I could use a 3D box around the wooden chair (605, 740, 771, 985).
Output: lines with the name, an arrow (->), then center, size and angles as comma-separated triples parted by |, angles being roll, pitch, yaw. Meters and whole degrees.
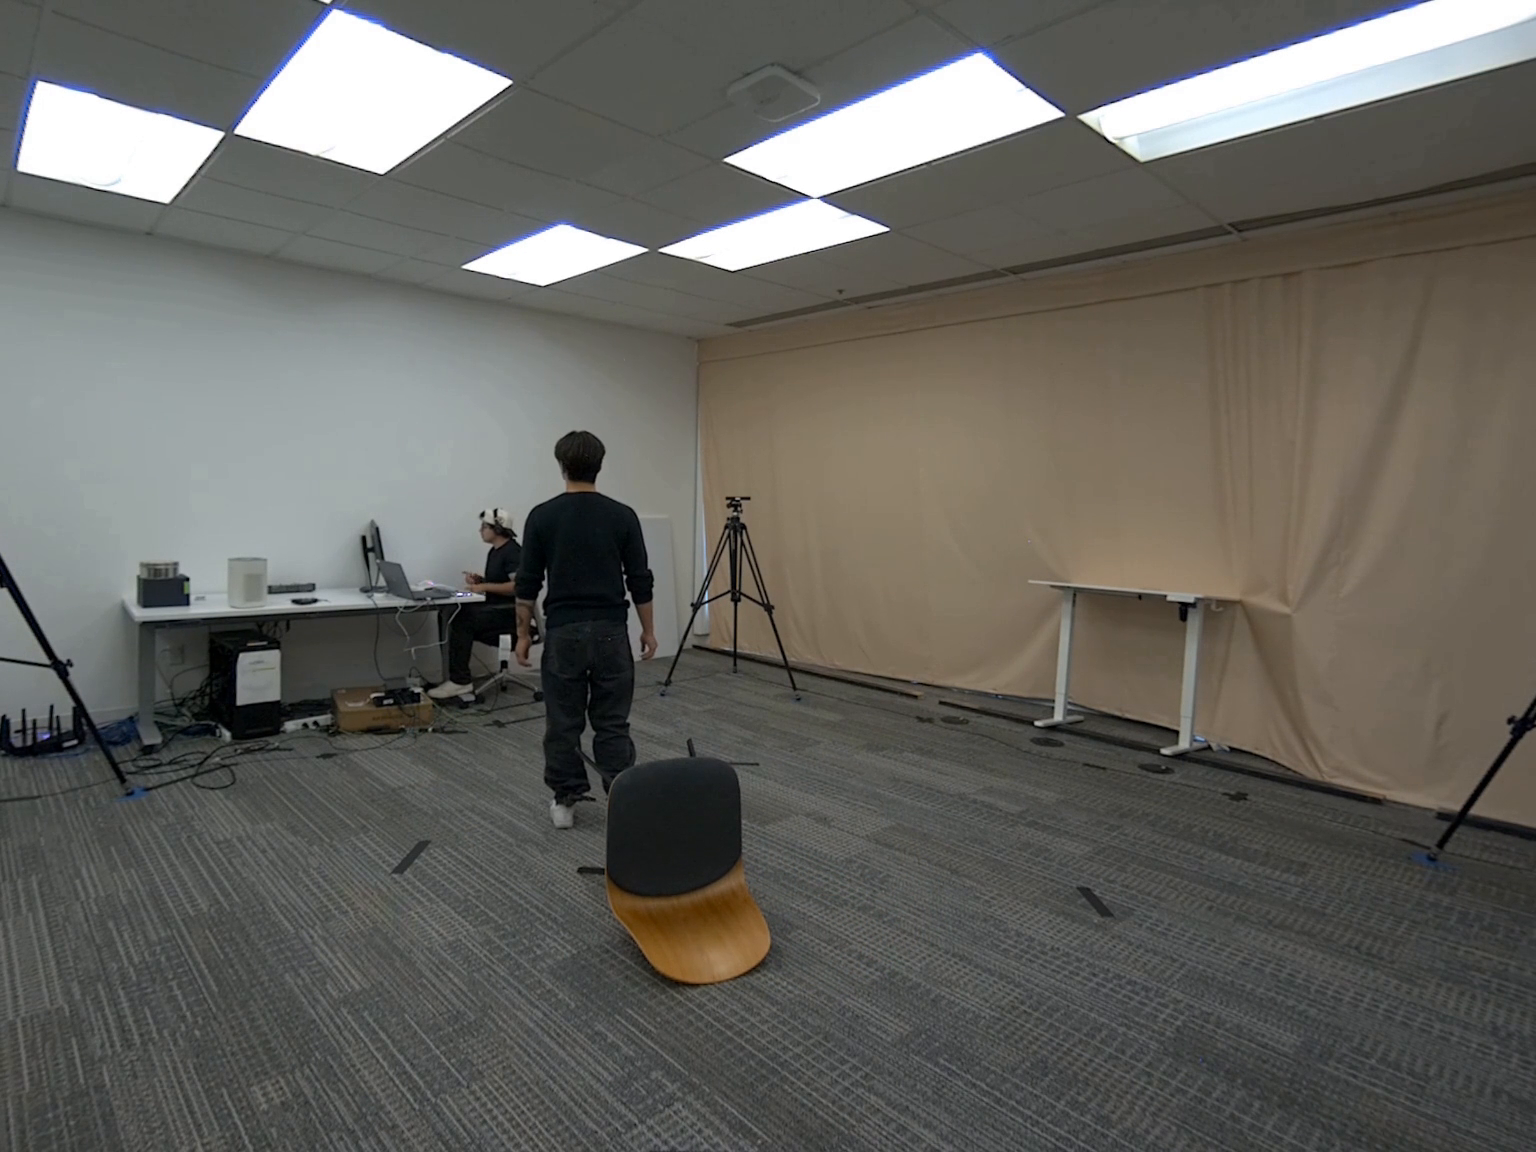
wooden chair -> -0.327, 0.872, 2.800 | 0.470, 0.521, 0.895 | -1, 6, -24
